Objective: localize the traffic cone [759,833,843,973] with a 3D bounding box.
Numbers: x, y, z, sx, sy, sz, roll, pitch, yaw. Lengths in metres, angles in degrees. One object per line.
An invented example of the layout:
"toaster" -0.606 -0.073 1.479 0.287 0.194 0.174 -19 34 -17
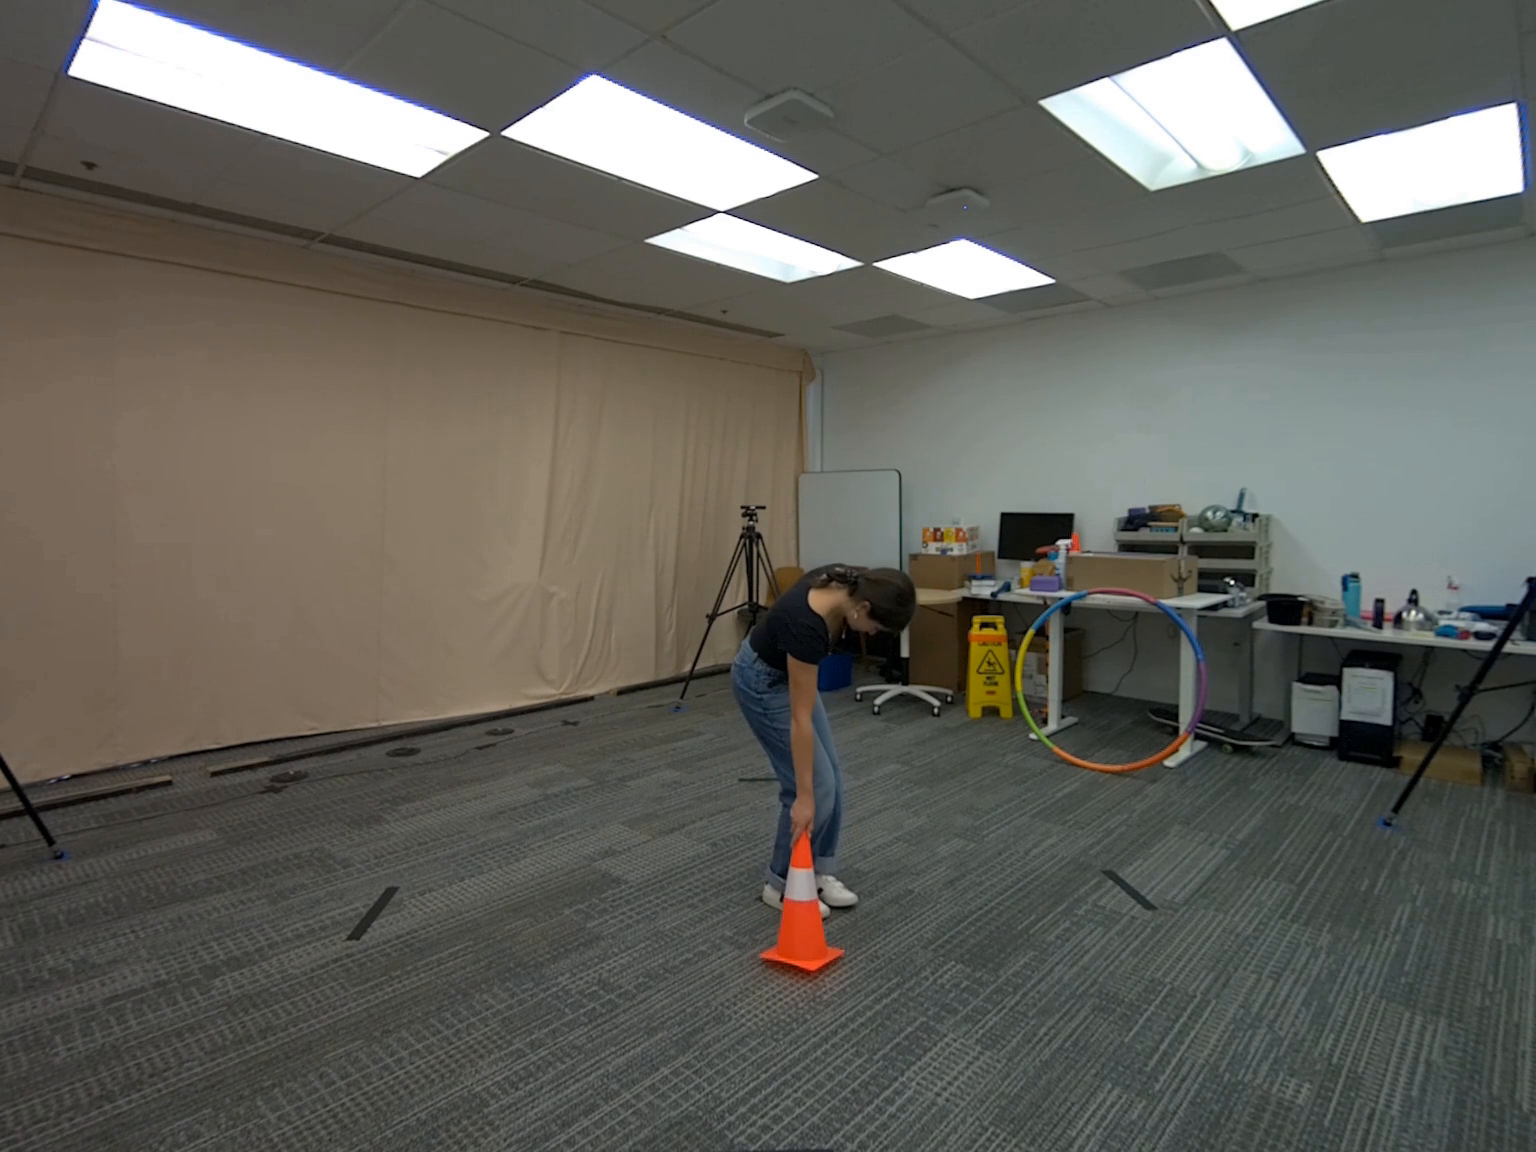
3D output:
"traffic cone" 0.100 0.966 2.608 0.209 0.385 0.198 -4 -8 32
